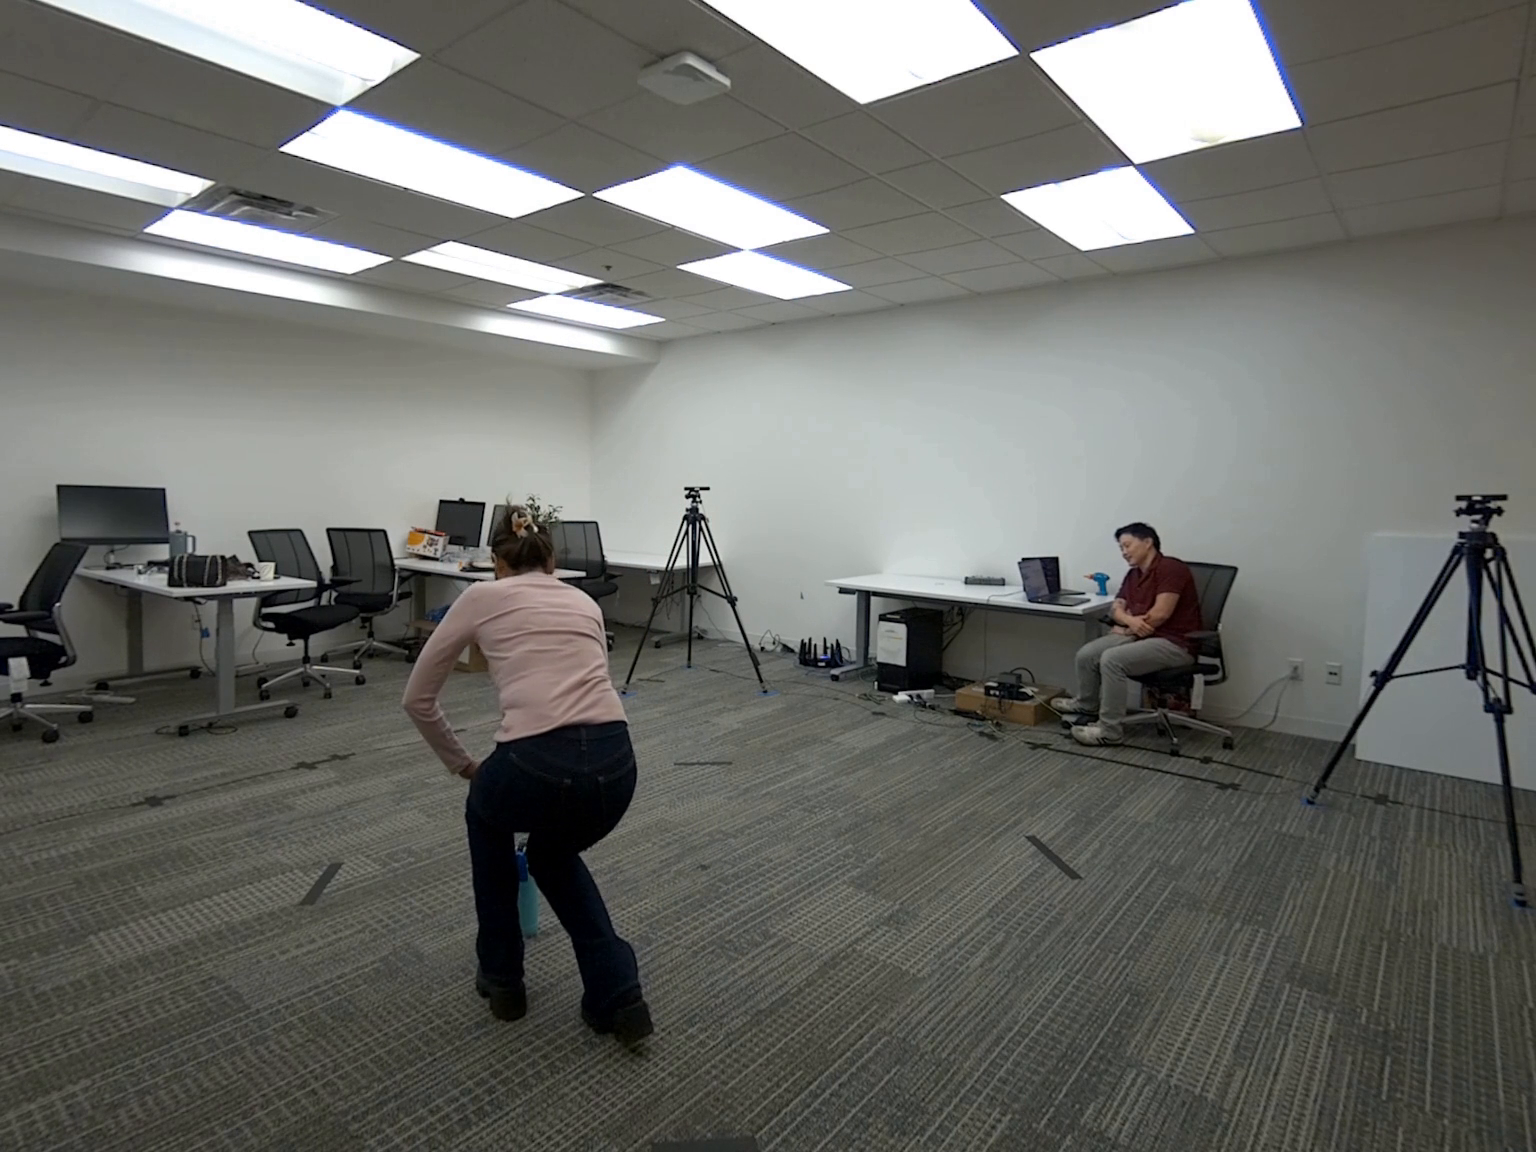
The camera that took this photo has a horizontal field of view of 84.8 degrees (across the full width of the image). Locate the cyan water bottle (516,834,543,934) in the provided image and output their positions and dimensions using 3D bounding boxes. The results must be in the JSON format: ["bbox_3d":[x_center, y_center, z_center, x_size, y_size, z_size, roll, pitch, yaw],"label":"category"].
[{"bbox_3d":[-0.767,0.961,2.644,0.092,0.282,0.093,0,4,-2],"label":"cyan water bottle"}]
